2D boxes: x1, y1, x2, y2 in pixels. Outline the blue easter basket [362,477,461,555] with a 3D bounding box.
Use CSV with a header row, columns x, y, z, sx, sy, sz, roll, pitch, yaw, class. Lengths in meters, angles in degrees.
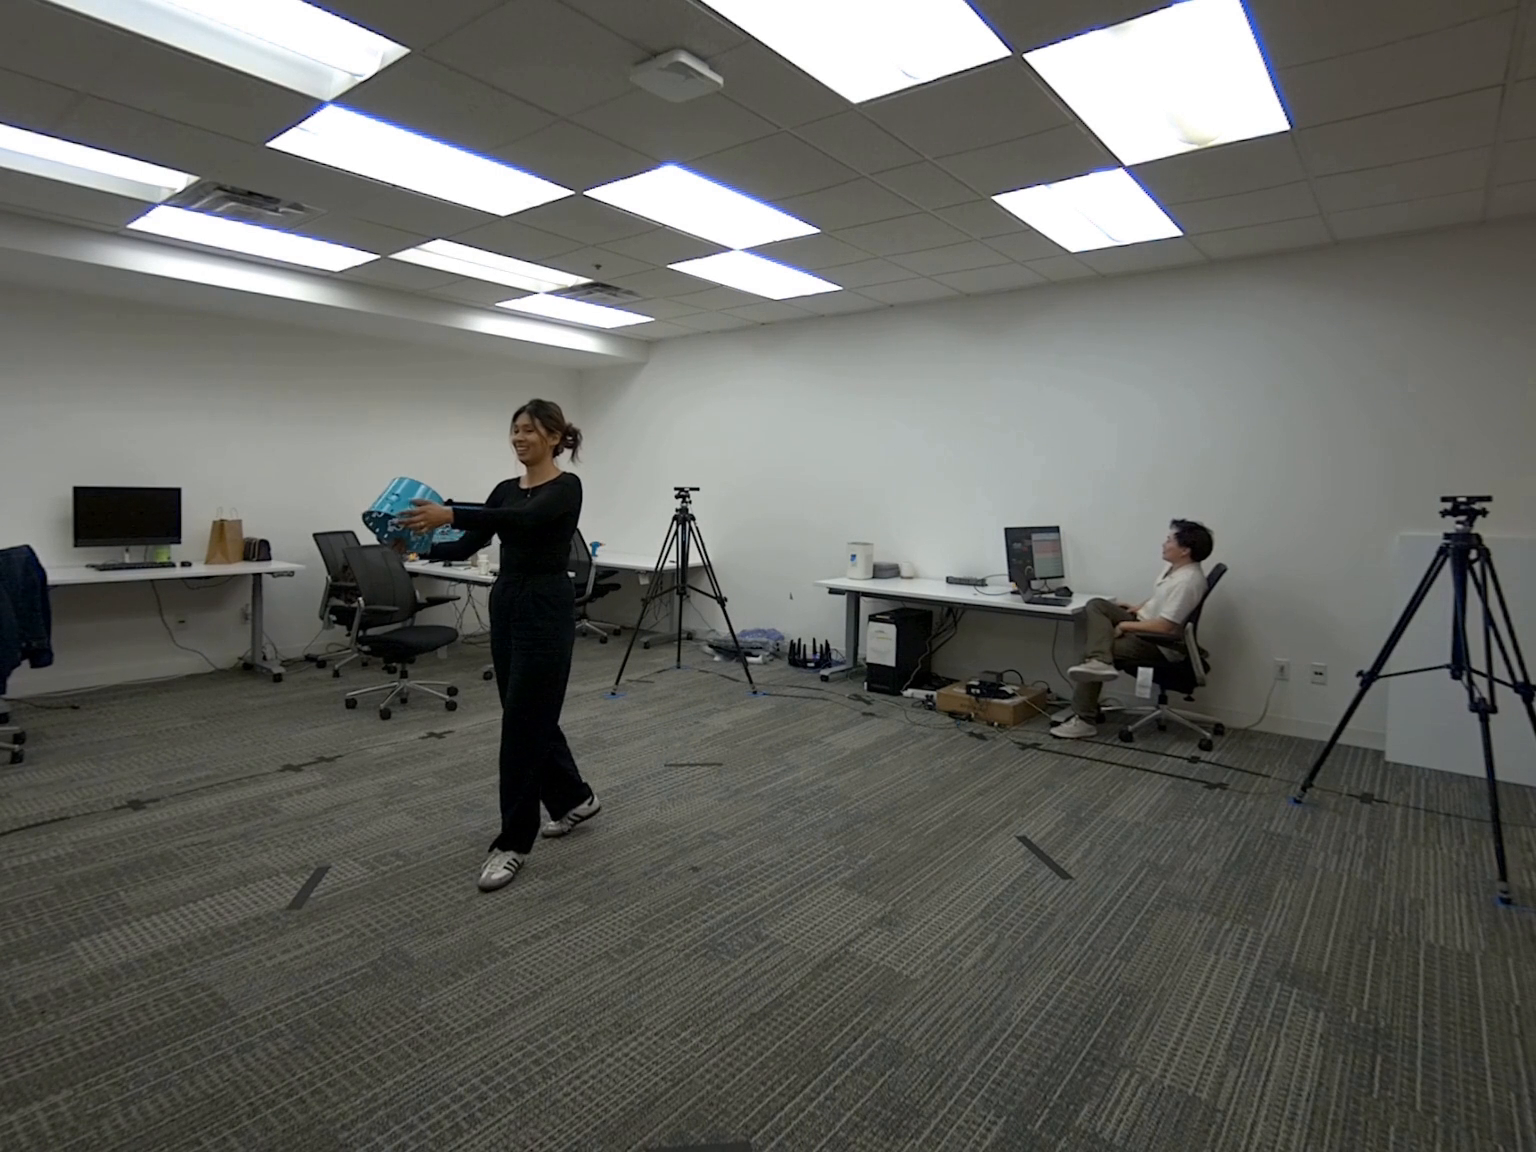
x,y,z,sx,sy,sz,roll,pitch,yaw,class
-1.184,-0.204,2.730,0.246,0.158,0.237,15,-30,7,blue easter basket
